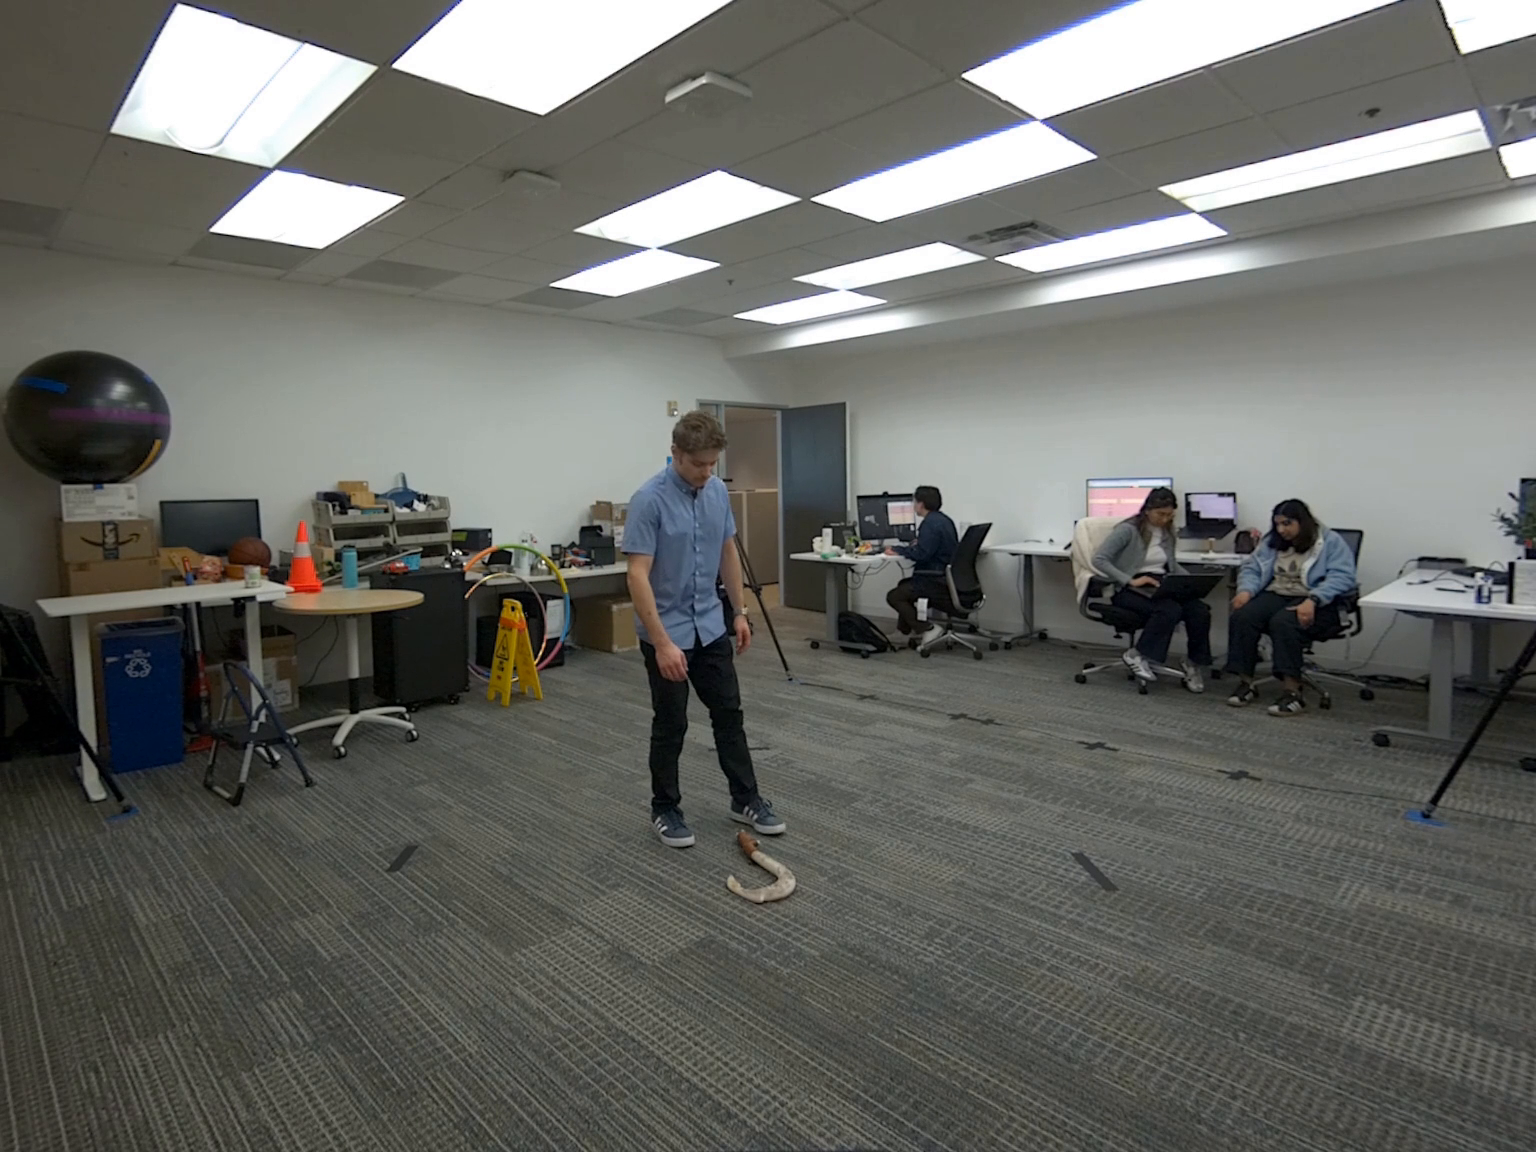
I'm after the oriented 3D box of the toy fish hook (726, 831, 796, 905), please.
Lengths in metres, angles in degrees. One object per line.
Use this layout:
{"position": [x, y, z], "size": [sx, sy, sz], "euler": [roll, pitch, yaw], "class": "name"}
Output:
{"position": [-0.065, 1.031, 3.053], "size": [0.221, 0.048, 0.517], "euler": [-3, 6, -19], "class": "toy fish hook"}
